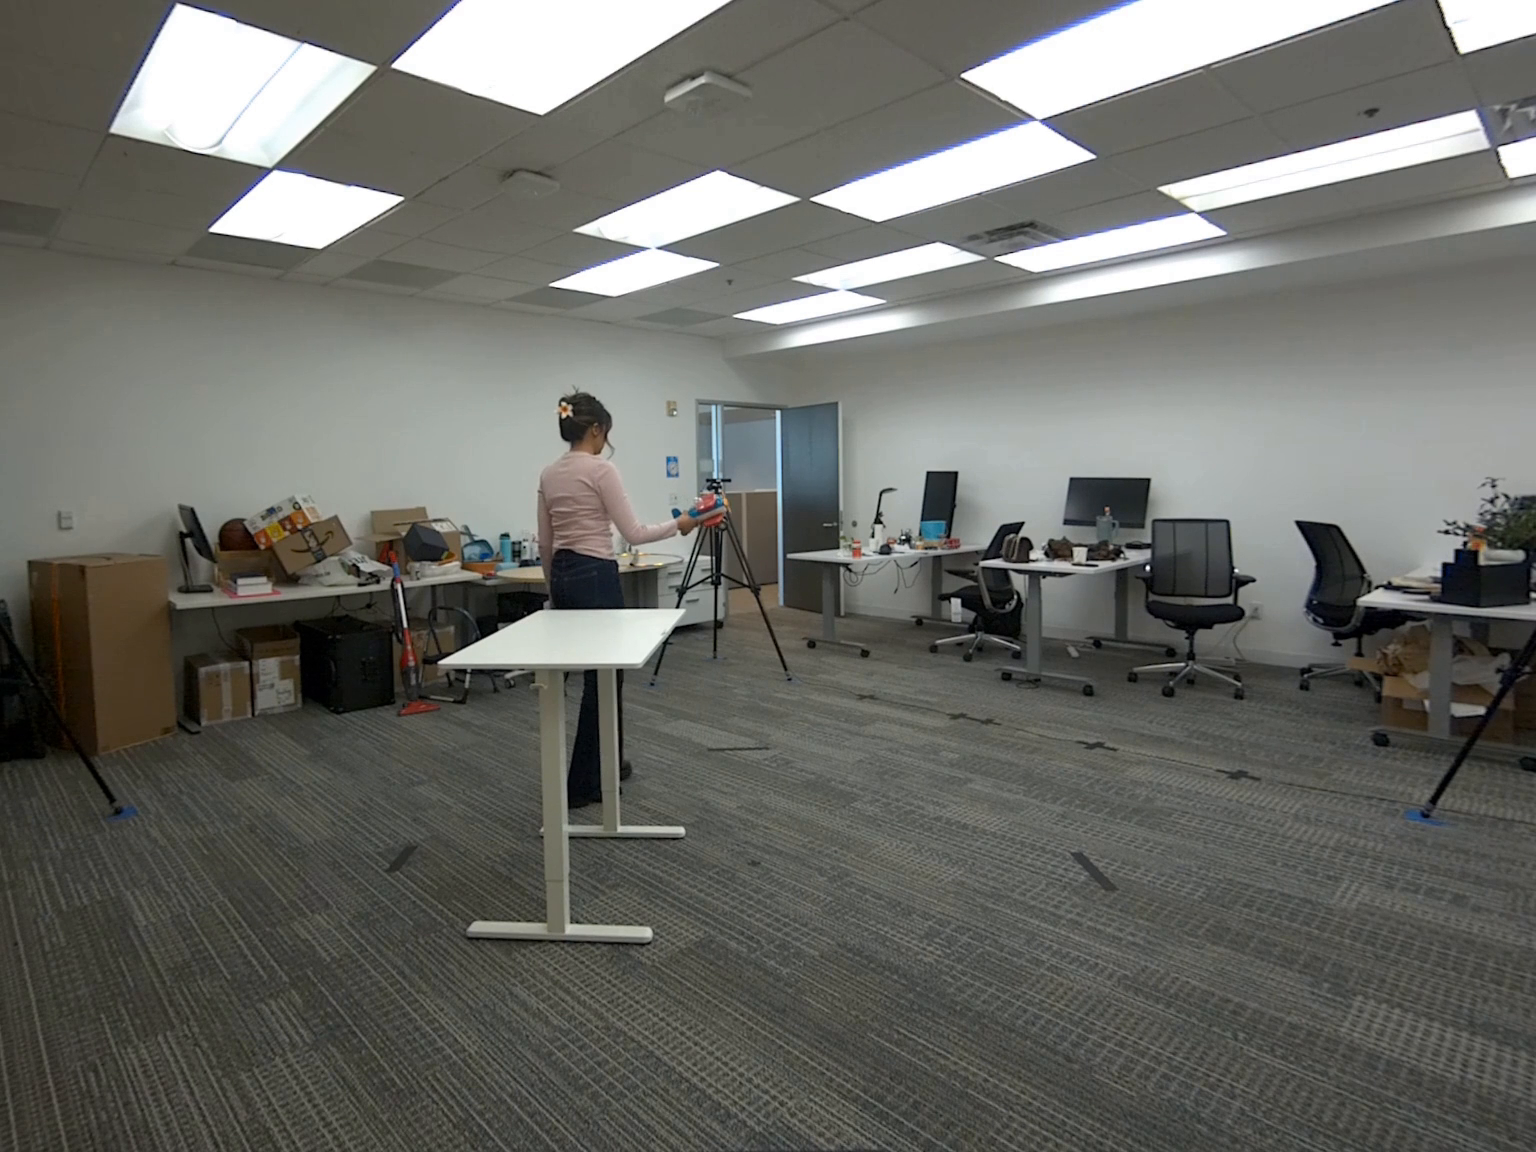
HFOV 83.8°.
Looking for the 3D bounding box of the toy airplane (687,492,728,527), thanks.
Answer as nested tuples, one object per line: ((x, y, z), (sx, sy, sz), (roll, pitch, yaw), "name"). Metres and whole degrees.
((-0.302, -0.269, 3.848), (0.255, 0.154, 0.259), (-17, 19, -27), "toy airplane")
